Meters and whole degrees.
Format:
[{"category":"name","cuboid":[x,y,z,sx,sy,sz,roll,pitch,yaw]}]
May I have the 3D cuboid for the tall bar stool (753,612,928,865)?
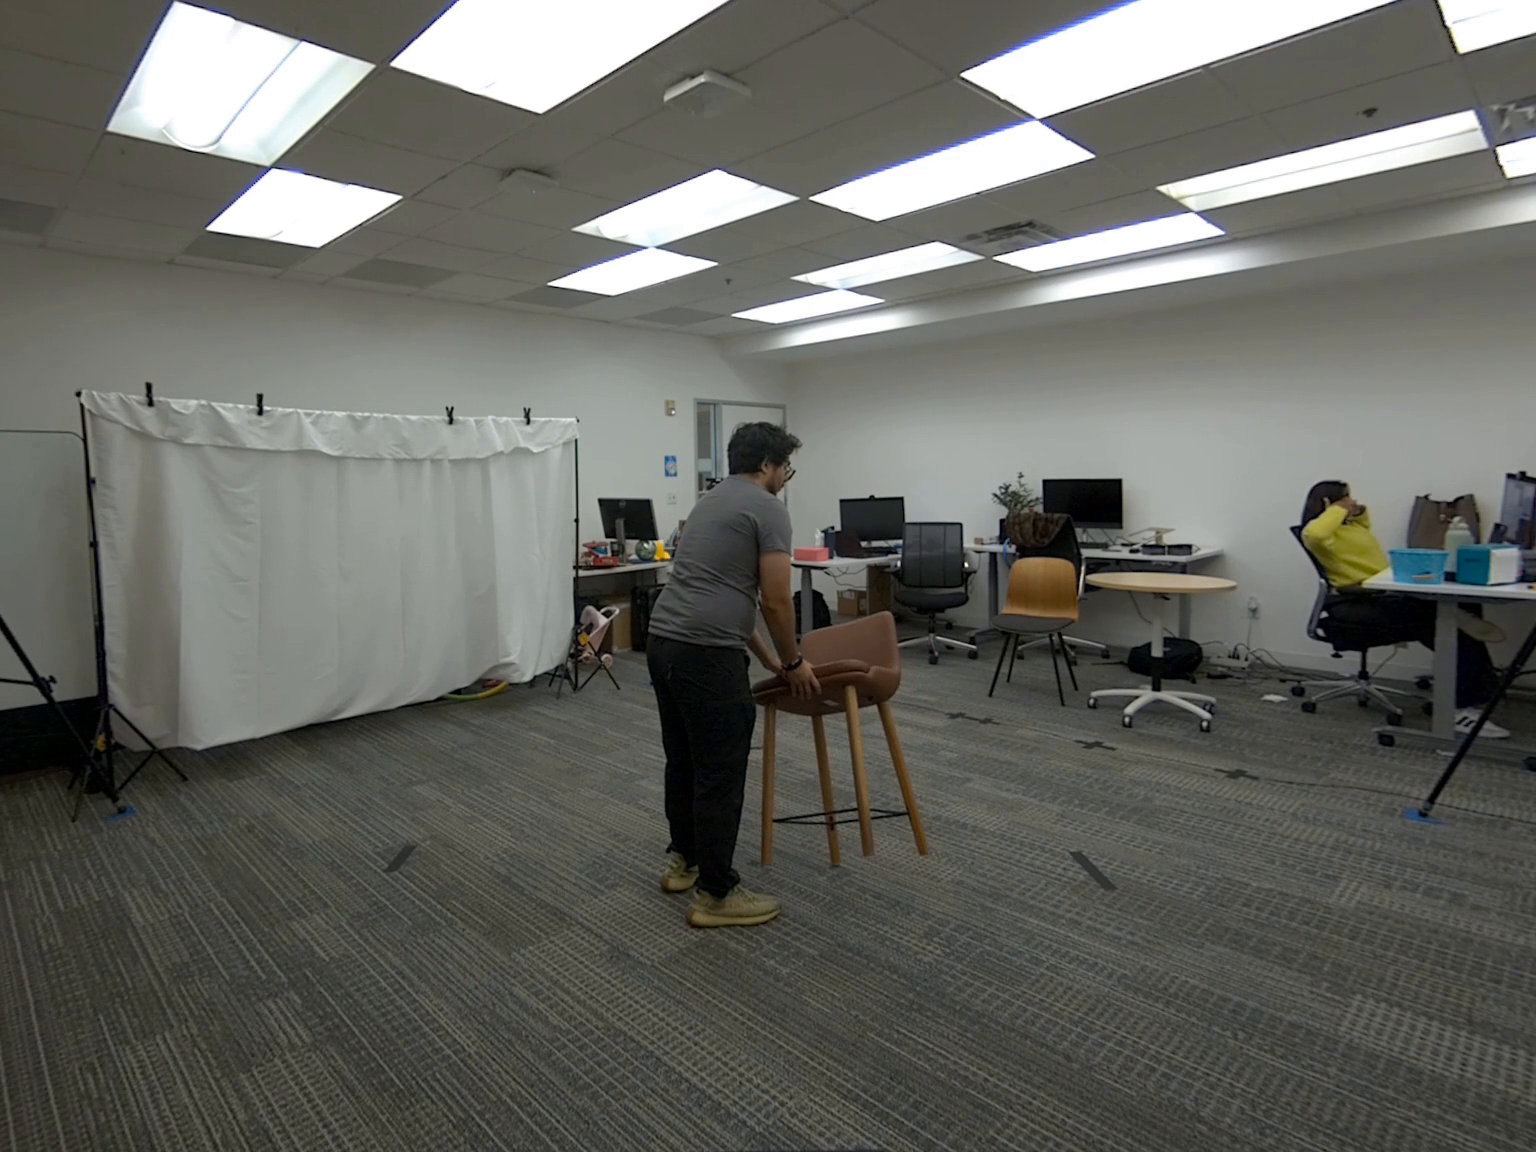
[{"category":"tall bar stool","cuboid":[0.237,0.540,3.000,0.464,0.909,0.450,-20,-28,32]}]
